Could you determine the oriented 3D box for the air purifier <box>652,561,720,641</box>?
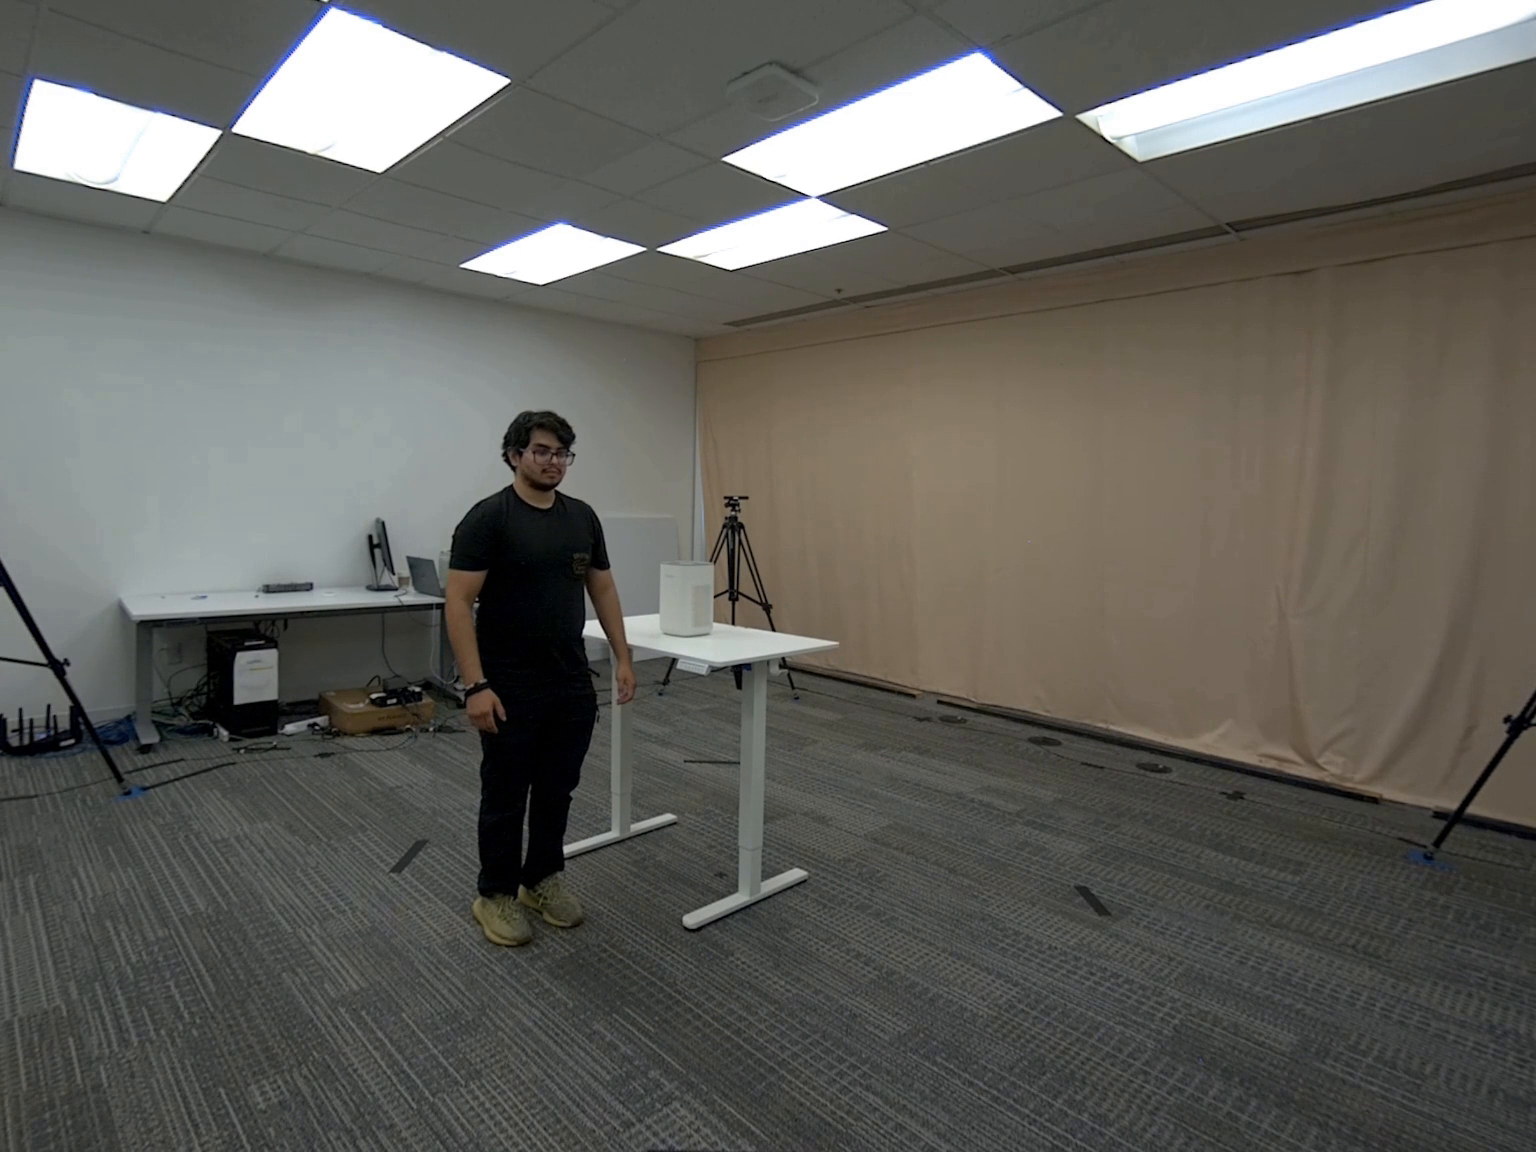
[{"bbox_3d":[-0.304,0.085,3.115,0.167,0.265,0.175,-1,5,-44],"label":"air purifier"}]
